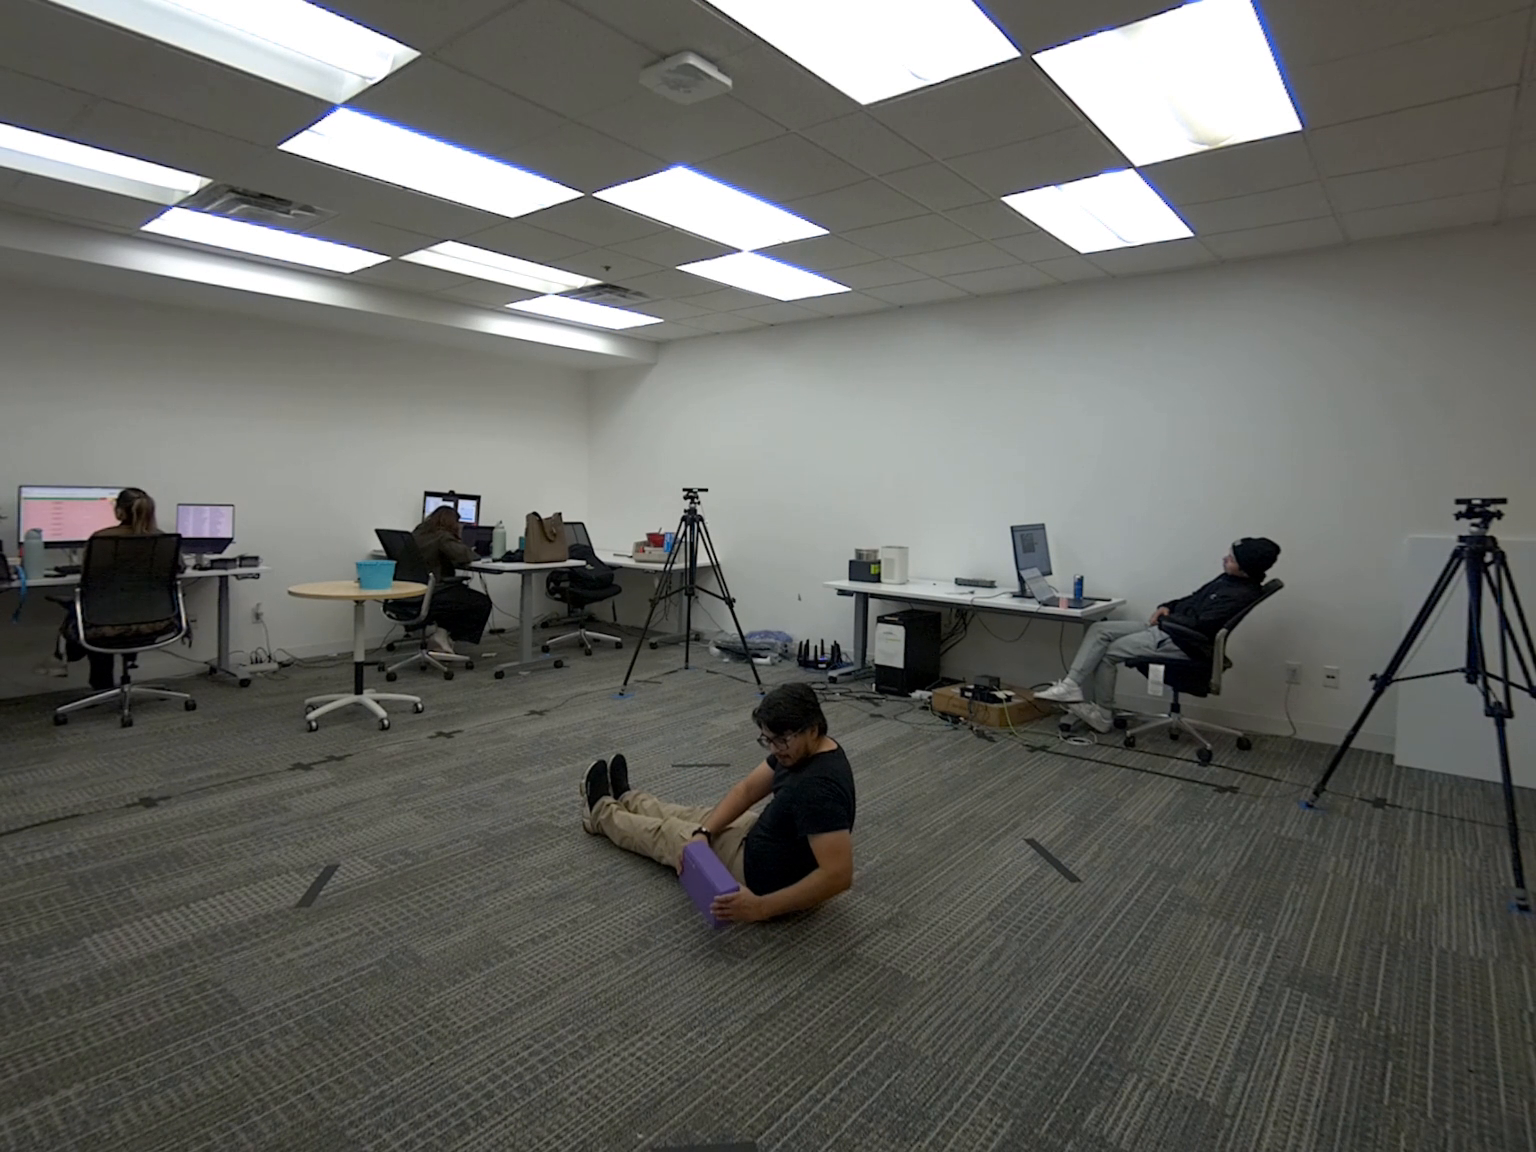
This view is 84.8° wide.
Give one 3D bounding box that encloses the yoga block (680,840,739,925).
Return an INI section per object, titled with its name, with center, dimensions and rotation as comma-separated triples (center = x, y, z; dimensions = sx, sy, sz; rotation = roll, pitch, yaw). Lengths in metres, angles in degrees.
[yoga block]
center = -0.187, 0.952, 2.636
dimensions = 0.075, 0.146, 0.238
rotation = -7, 23, -21
